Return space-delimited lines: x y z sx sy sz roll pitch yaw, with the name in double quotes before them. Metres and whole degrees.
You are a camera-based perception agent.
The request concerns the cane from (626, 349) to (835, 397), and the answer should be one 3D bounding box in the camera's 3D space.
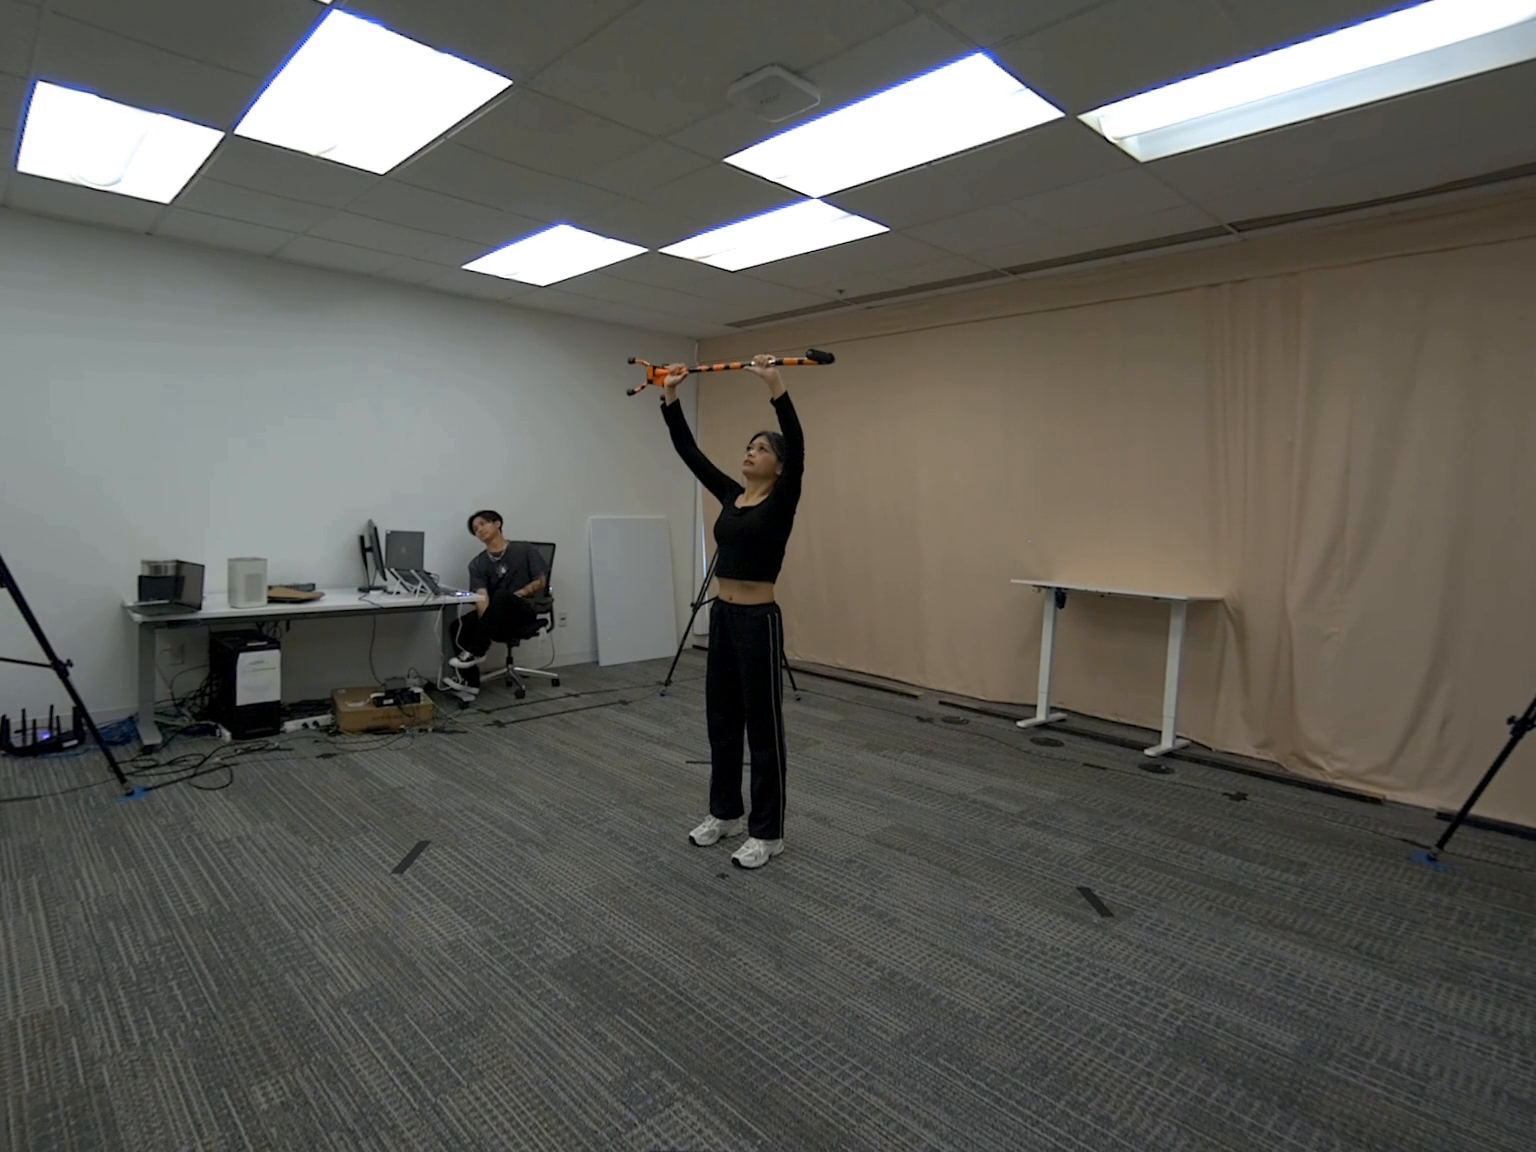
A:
"cane" -0.141 -0.740 3.033 0.932 0.151 0.202 7 7 43
